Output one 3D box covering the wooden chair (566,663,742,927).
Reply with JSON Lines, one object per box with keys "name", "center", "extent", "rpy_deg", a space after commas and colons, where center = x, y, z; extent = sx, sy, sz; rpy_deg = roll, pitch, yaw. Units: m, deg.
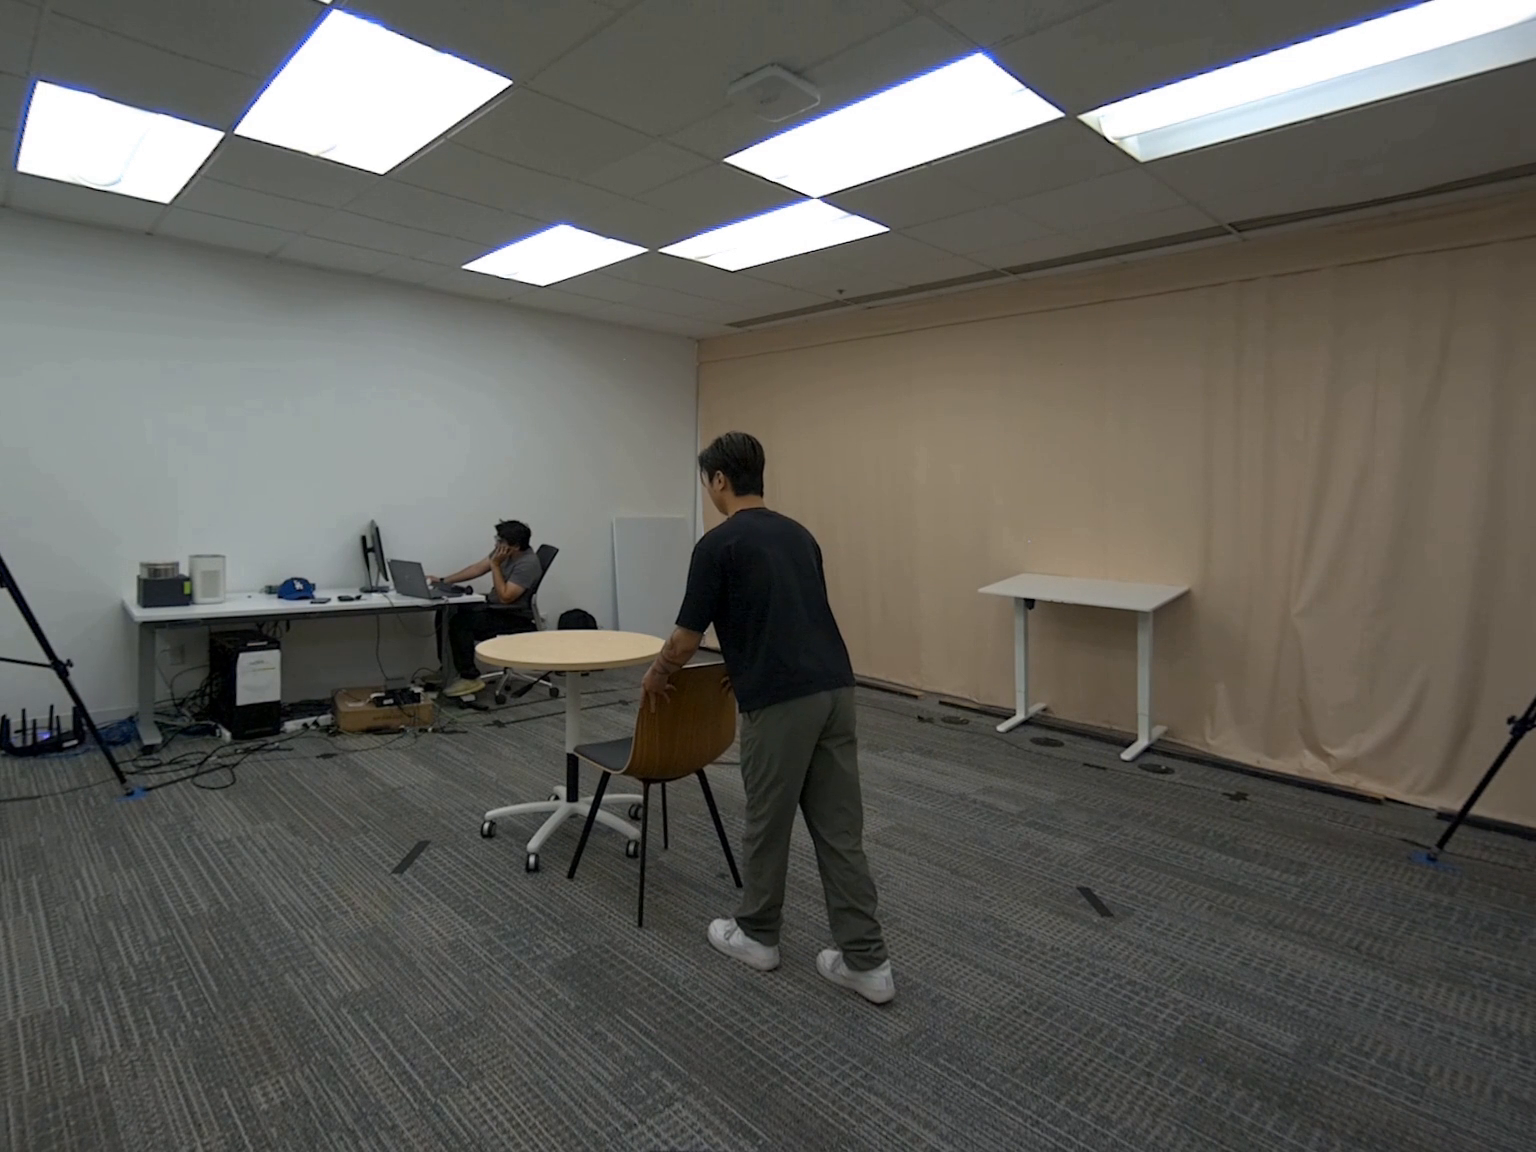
{"name": "wooden chair", "center": [-0.405, 0.682, 3.003], "extent": [0.467, 0.873, 0.537], "rpy_deg": [-2, 9, -42]}
